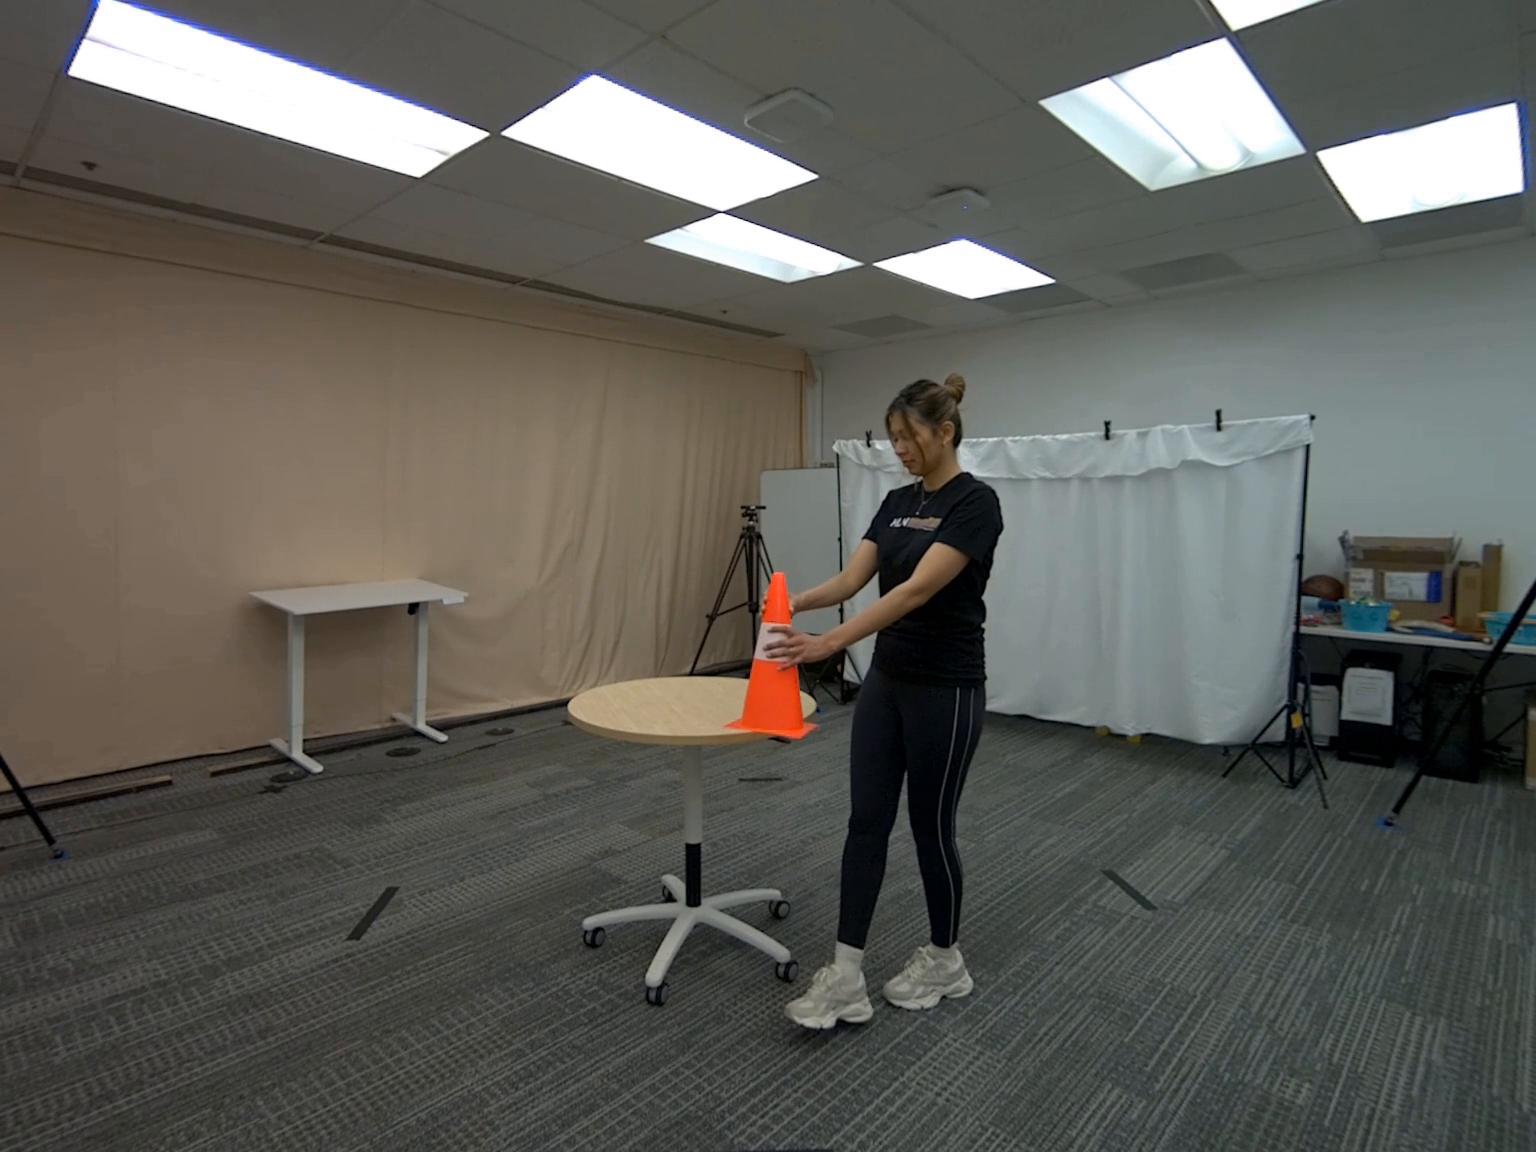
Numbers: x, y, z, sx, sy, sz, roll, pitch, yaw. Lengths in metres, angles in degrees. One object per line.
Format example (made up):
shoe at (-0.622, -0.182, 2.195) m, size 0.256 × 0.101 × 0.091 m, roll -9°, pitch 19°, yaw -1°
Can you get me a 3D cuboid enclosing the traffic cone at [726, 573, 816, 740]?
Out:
traffic cone at (0.029, 0.189, 2.096) m, size 0.210 × 0.384 × 0.198 m, roll 3°, pitch -1°, yaw 22°
